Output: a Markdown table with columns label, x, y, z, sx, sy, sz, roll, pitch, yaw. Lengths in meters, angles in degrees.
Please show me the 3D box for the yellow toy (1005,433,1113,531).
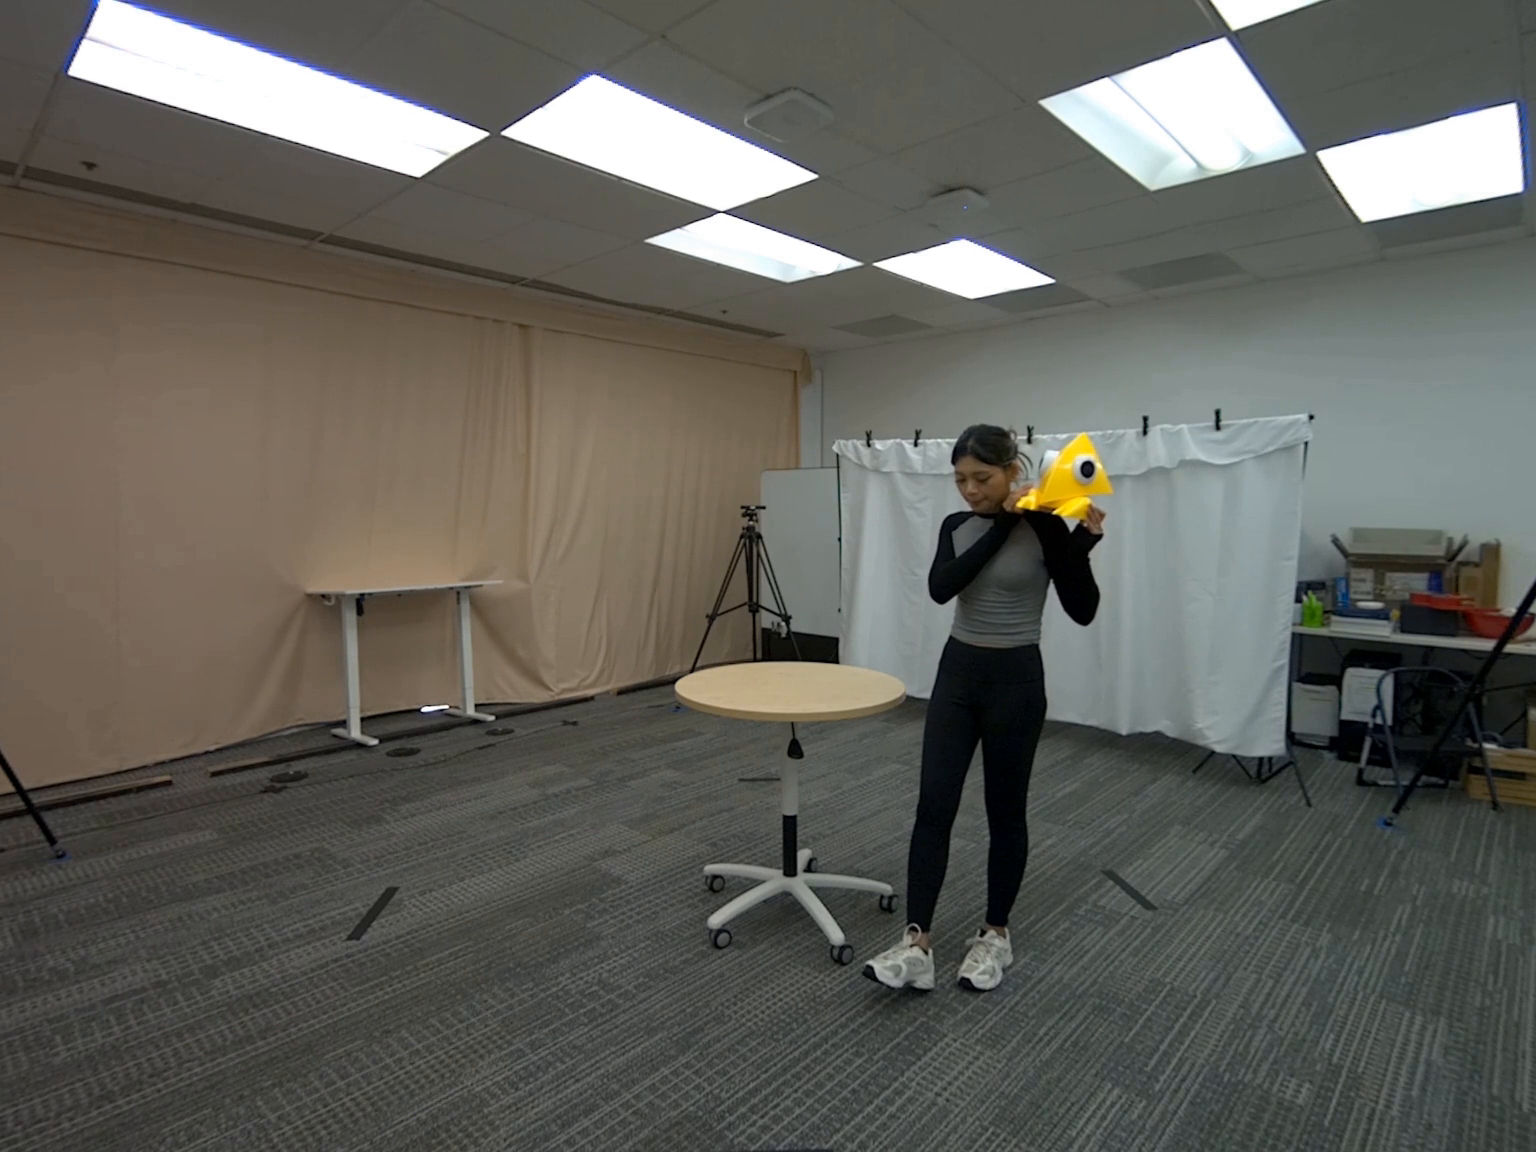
| label | x | y | z | sx | sy | sz | roll | pitch | yaw |
| --- | --- | --- | --- | --- | --- | --- | --- | --- | --- |
| yellow toy | 0.817 | -0.283 | 2.282 | 0.187 | 0.230 | 0.212 | 2 | 13 | -44 |
